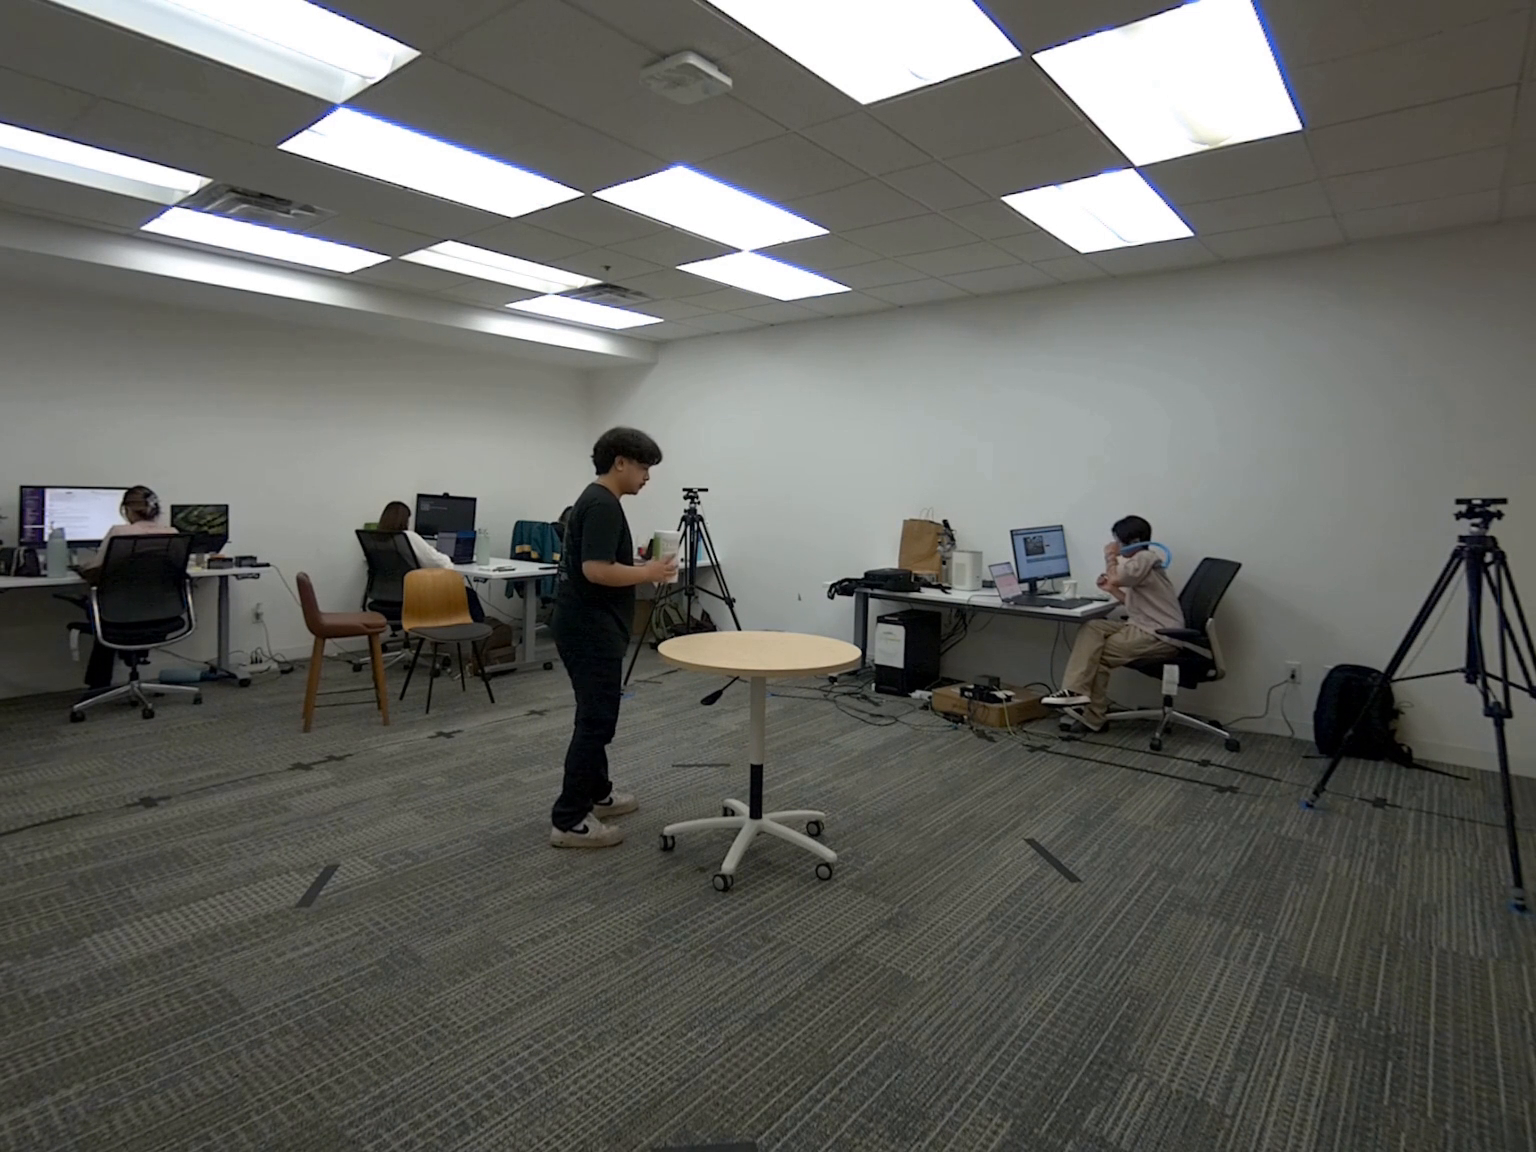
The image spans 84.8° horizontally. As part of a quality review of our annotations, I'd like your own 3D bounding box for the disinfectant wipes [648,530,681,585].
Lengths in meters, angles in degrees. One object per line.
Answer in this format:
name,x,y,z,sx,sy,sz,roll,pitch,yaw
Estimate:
disinfectant wipes,-0.443,-0.081,3.556,0.118,0.217,0.118,4,0,-2
